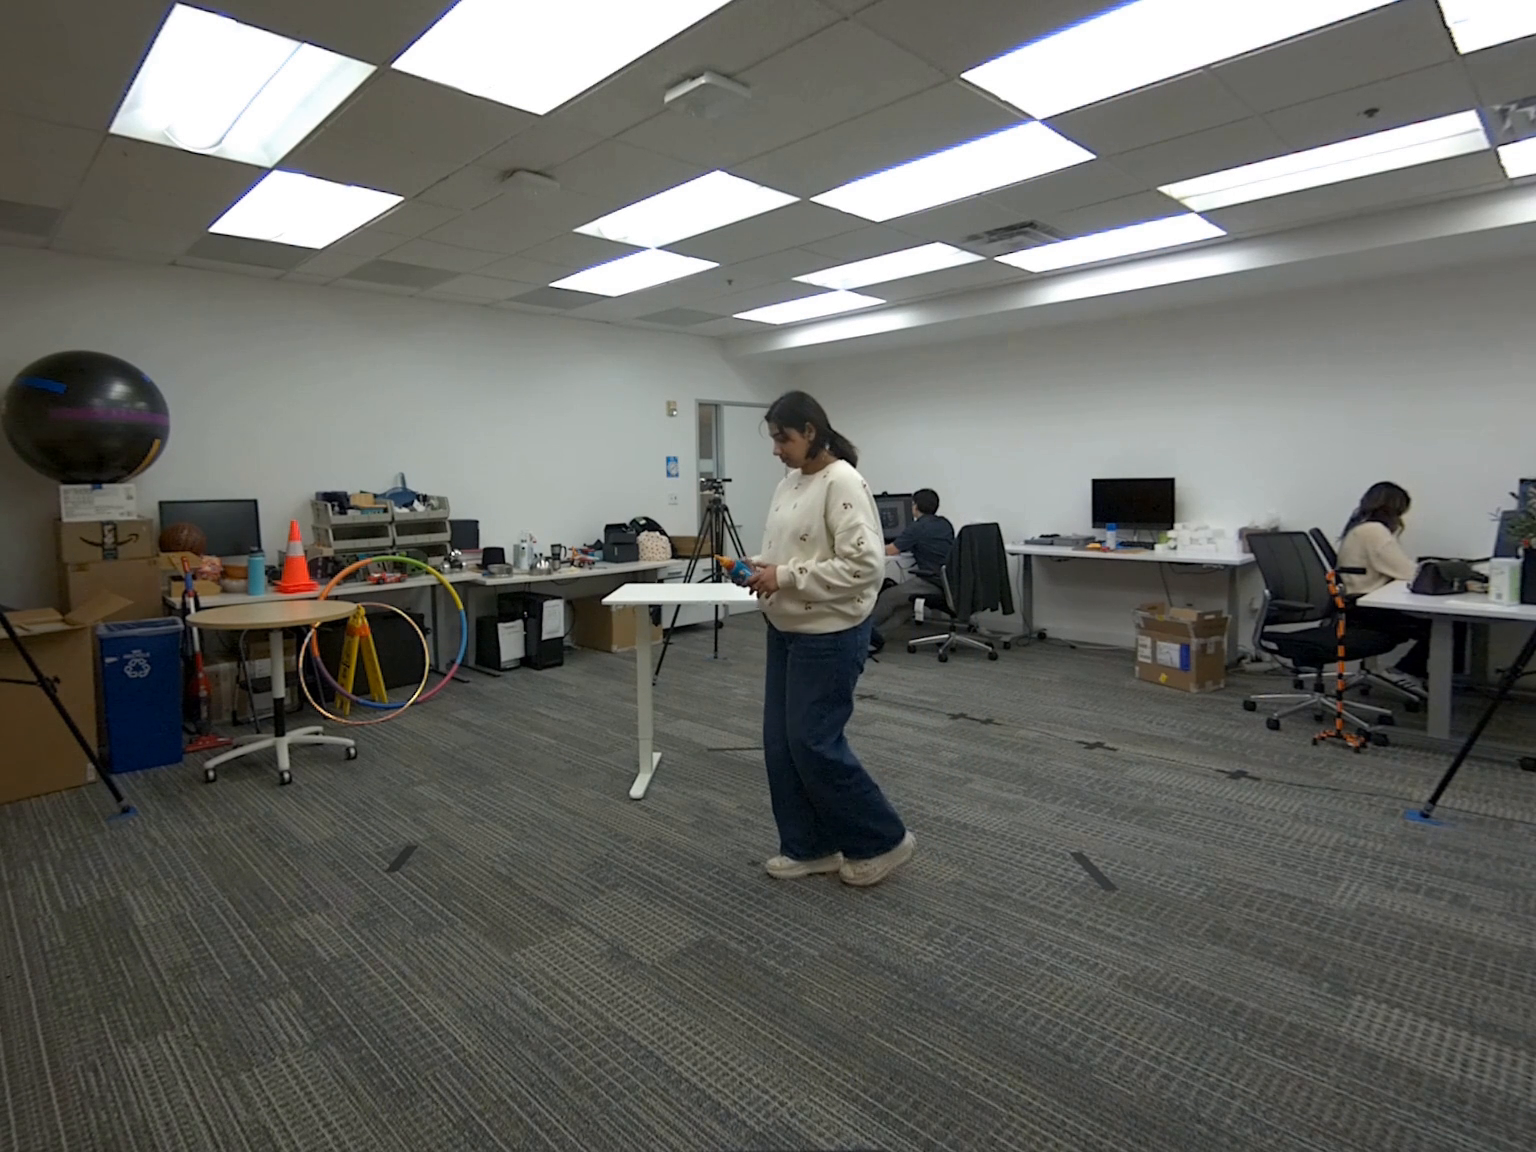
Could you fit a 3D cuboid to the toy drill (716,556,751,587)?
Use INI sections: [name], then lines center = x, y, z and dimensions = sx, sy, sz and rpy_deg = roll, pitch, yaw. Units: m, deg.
[toy drill]
center = -0.084, -0.016, 2.819
dimensions = 0.164, 0.061, 0.151
rpy_deg = 33, 1, -32
